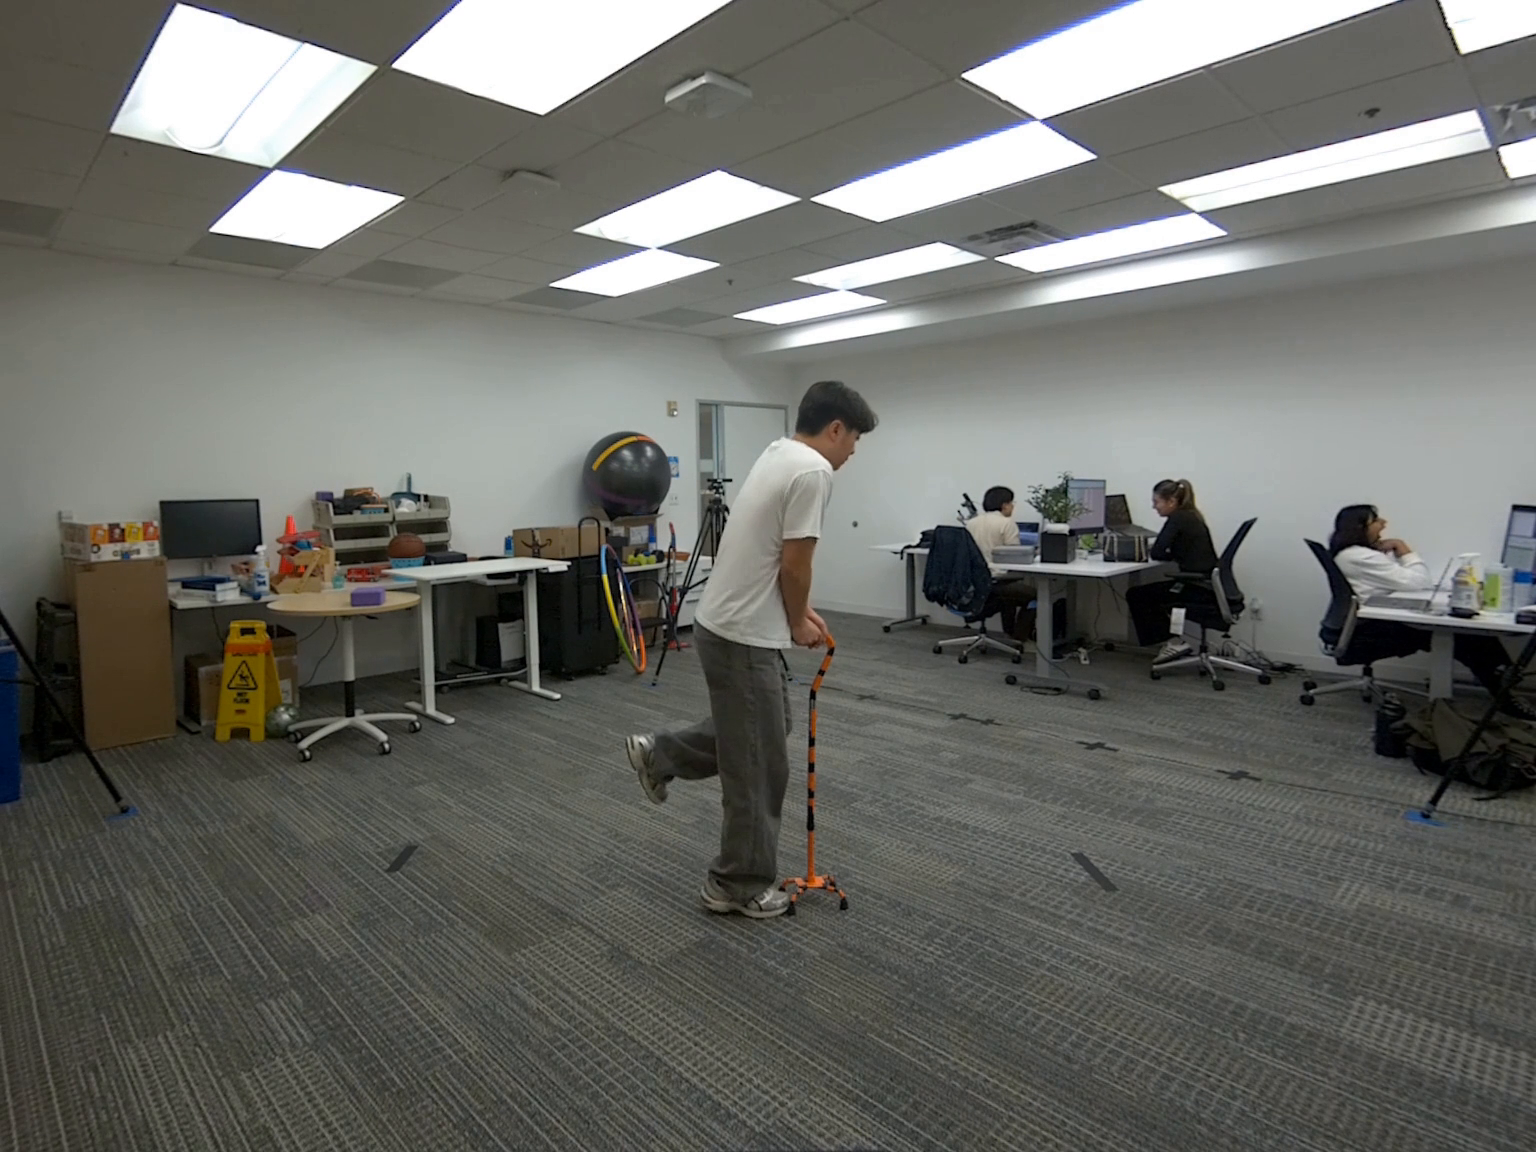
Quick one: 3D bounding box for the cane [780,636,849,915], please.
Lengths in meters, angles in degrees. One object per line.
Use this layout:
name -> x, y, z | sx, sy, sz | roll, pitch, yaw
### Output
cane -> 0.152, 0.630, 2.783 | 0.204, 0.904, 0.154 | -1, 5, -12
